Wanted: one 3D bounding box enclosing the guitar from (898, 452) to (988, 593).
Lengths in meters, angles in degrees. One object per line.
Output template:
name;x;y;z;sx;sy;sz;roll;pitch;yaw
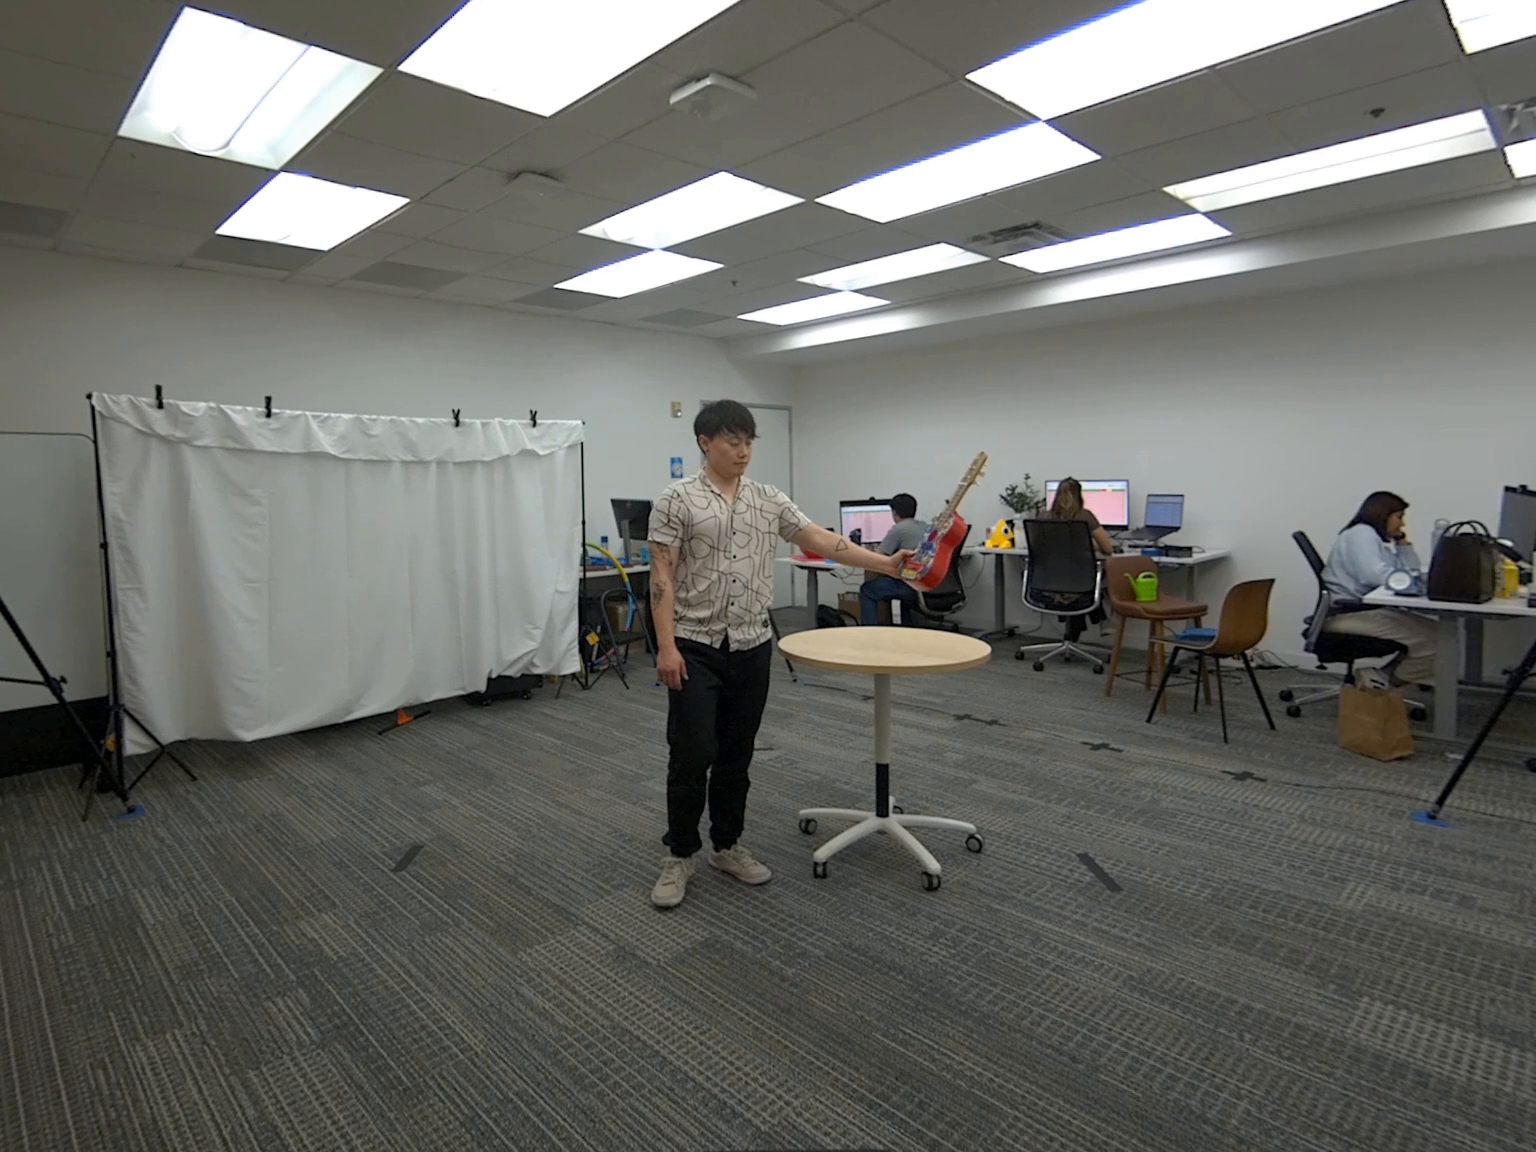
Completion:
guitar;0.599;-0.172;2.753;0.069;0.497;0.196;33;7;-14
